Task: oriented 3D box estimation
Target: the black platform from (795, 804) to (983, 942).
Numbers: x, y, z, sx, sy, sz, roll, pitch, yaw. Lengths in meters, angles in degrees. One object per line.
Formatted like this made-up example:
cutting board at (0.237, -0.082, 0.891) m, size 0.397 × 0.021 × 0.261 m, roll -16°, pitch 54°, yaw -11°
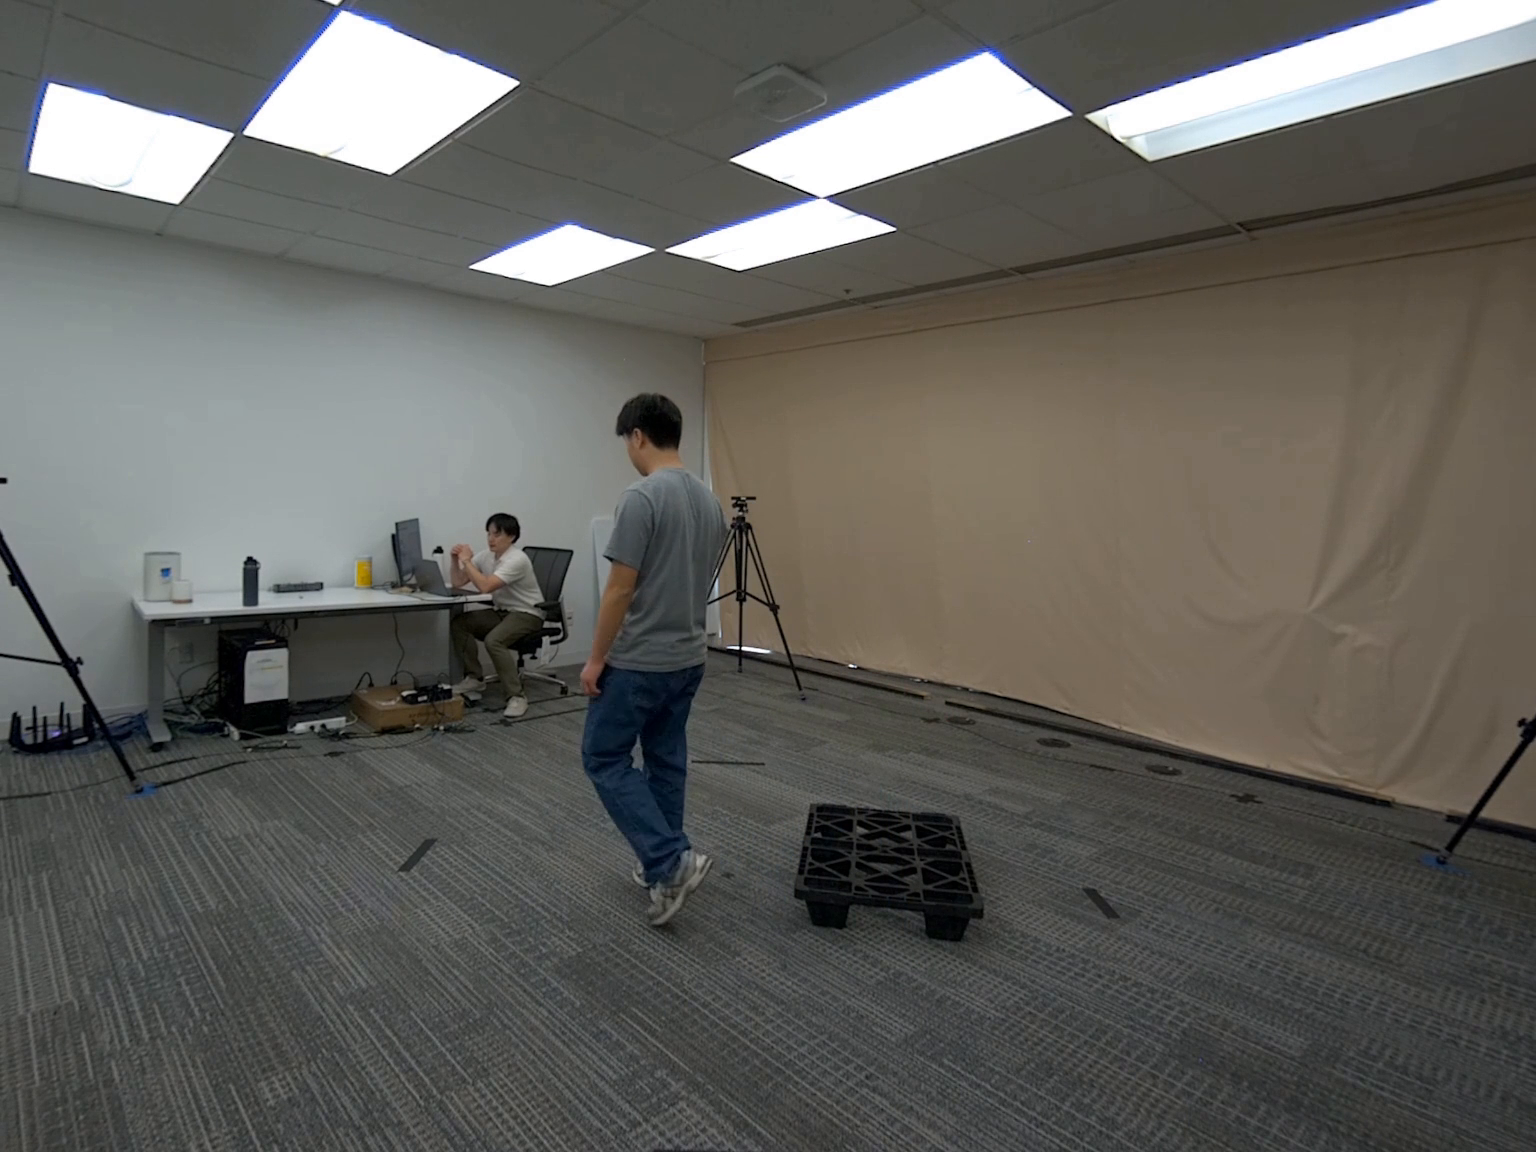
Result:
black platform at (0.413, 1.053, 3.063) m, size 0.609 × 0.143 × 0.802 m, roll 2°, pitch 5°, yaw 7°
